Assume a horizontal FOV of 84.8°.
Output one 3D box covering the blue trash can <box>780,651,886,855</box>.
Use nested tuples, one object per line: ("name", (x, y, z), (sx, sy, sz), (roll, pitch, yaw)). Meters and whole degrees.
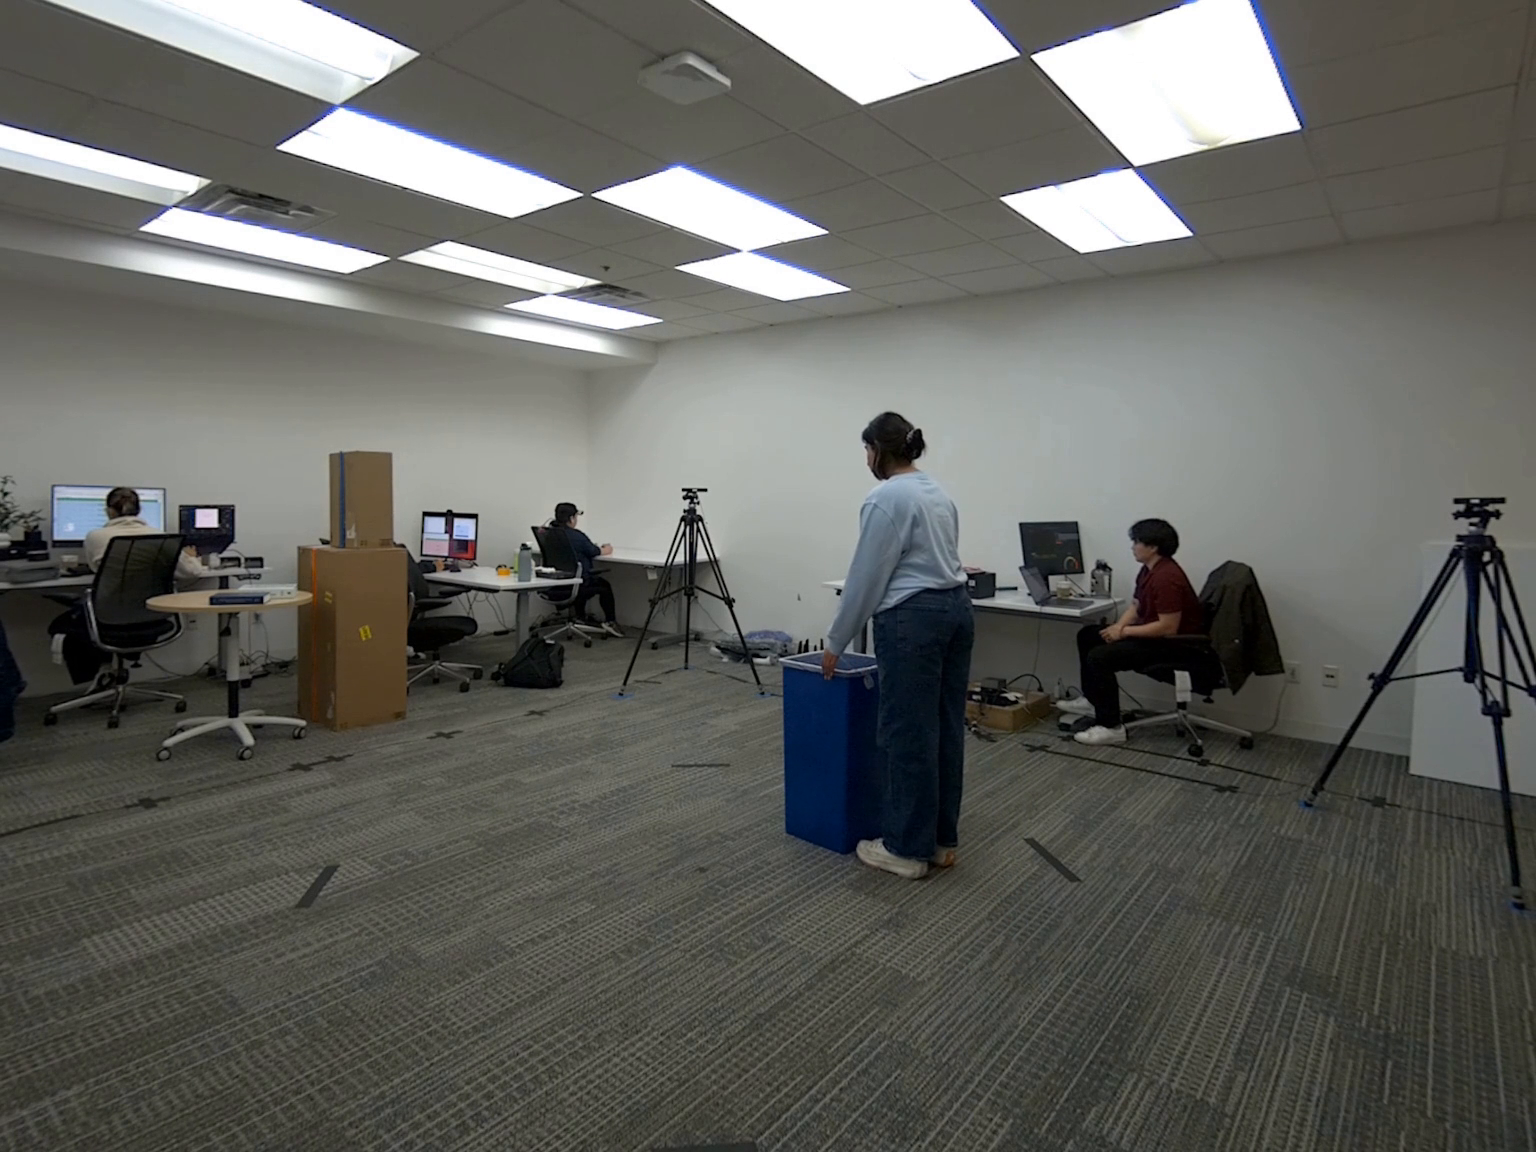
("blue trash can", (0.269, 0.689, 3.454), (0.387, 0.712, 0.366), (4, 4, 43))
